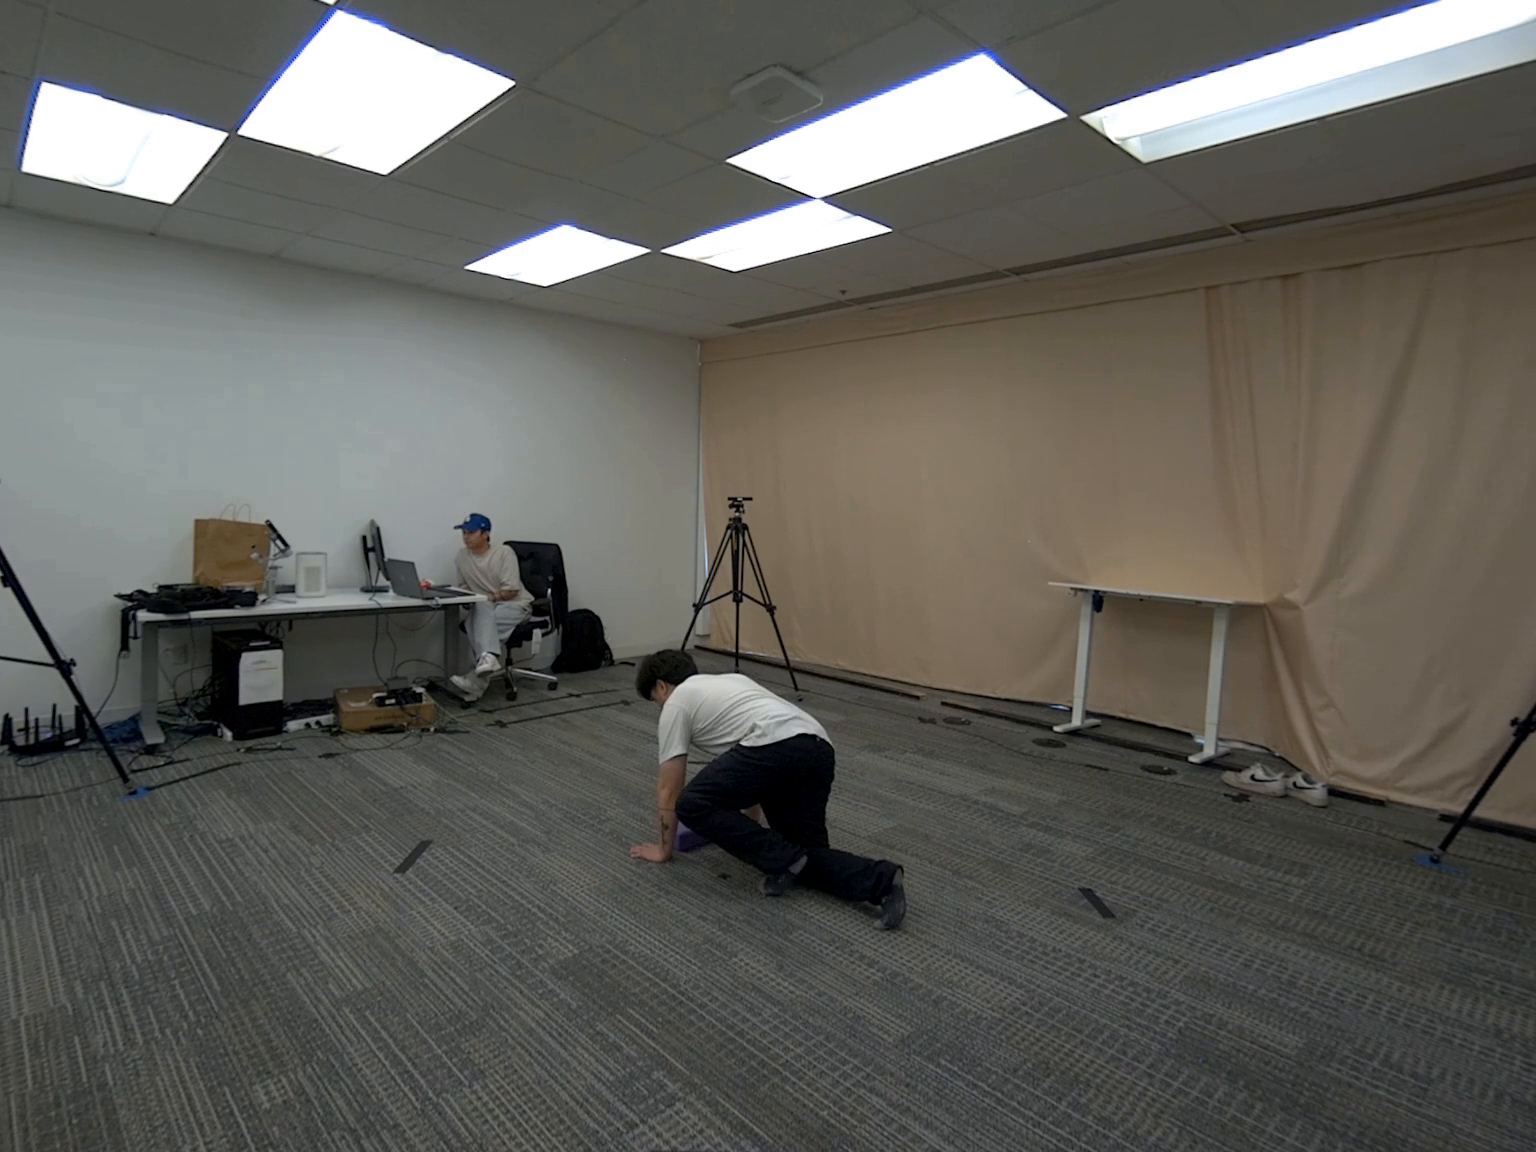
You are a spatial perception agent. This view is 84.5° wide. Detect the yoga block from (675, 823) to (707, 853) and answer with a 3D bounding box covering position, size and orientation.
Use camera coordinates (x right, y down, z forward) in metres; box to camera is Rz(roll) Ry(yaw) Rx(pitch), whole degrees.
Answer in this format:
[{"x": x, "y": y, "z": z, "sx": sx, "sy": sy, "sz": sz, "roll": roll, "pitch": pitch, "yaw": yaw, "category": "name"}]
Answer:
[{"x": -0.309, "y": 1.036, "z": 3.423, "sx": 0.153, "sy": 0.076, "sz": 0.224, "roll": 6, "pitch": 6, "yaw": 43, "category": "yoga block"}]
